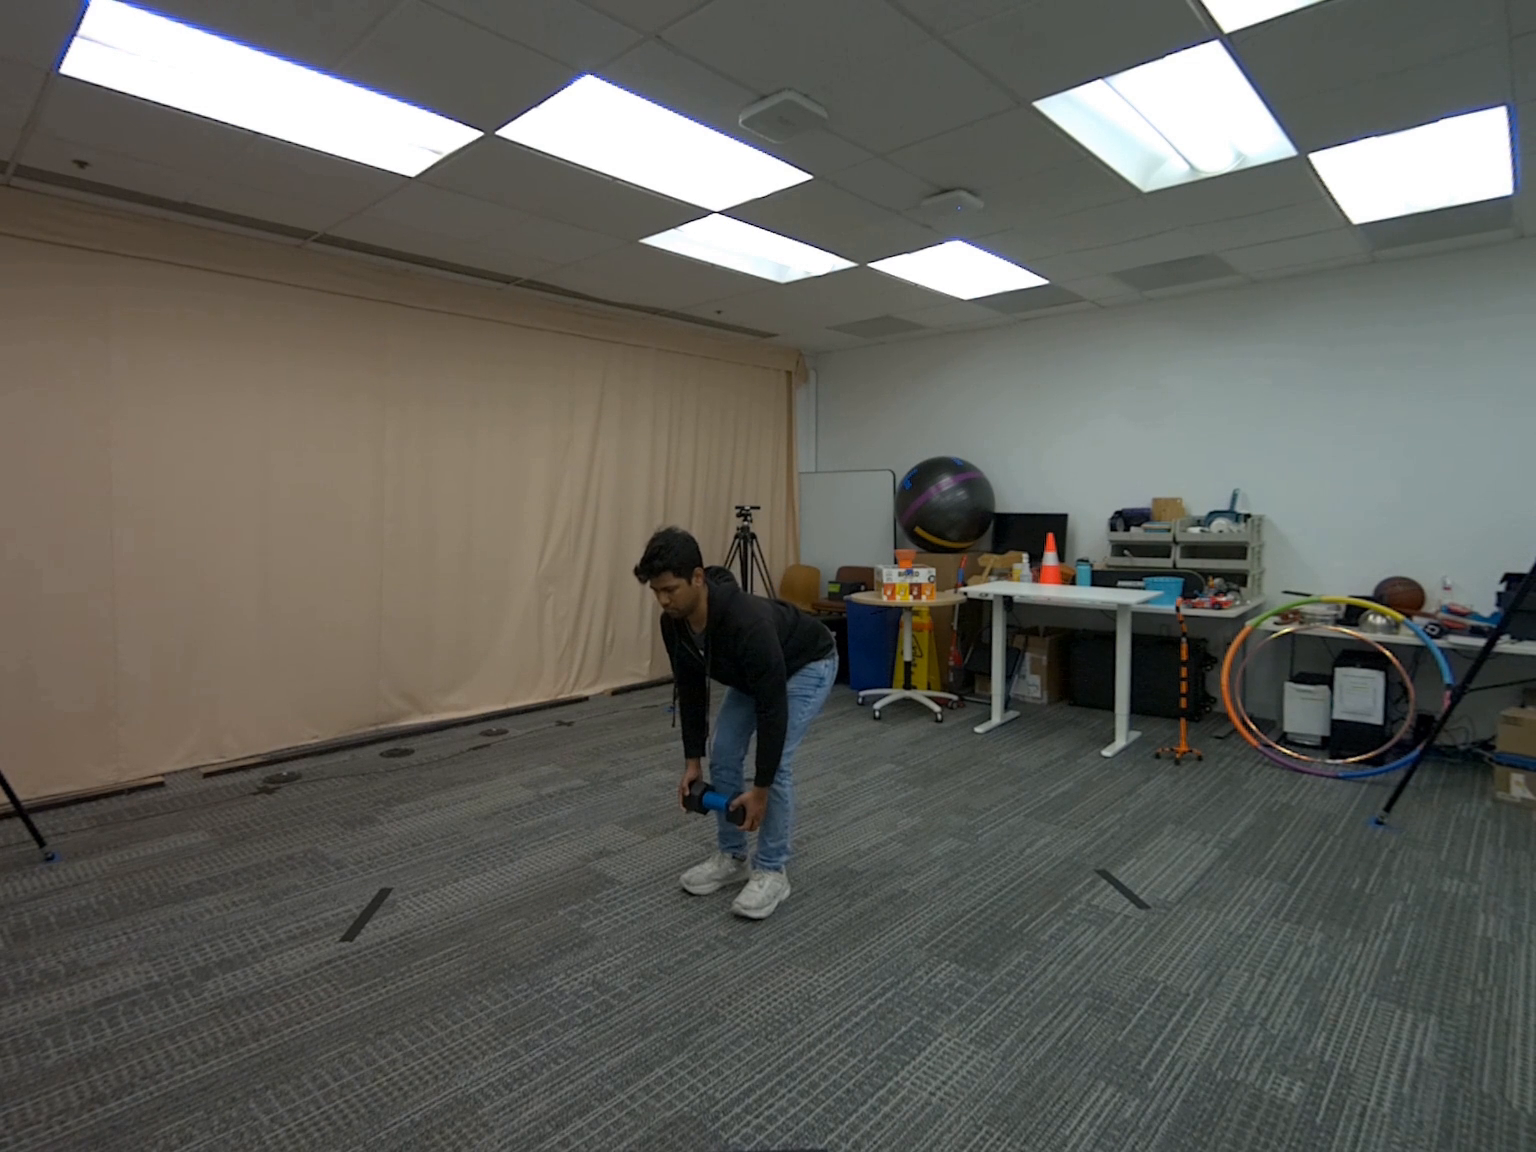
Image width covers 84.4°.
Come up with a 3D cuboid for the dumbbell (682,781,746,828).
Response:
[{"bbox_3d":[-0.155,0.797,2.955,0.303,0.109,0.118,0,-24,43],"label":"dumbbell"}]
